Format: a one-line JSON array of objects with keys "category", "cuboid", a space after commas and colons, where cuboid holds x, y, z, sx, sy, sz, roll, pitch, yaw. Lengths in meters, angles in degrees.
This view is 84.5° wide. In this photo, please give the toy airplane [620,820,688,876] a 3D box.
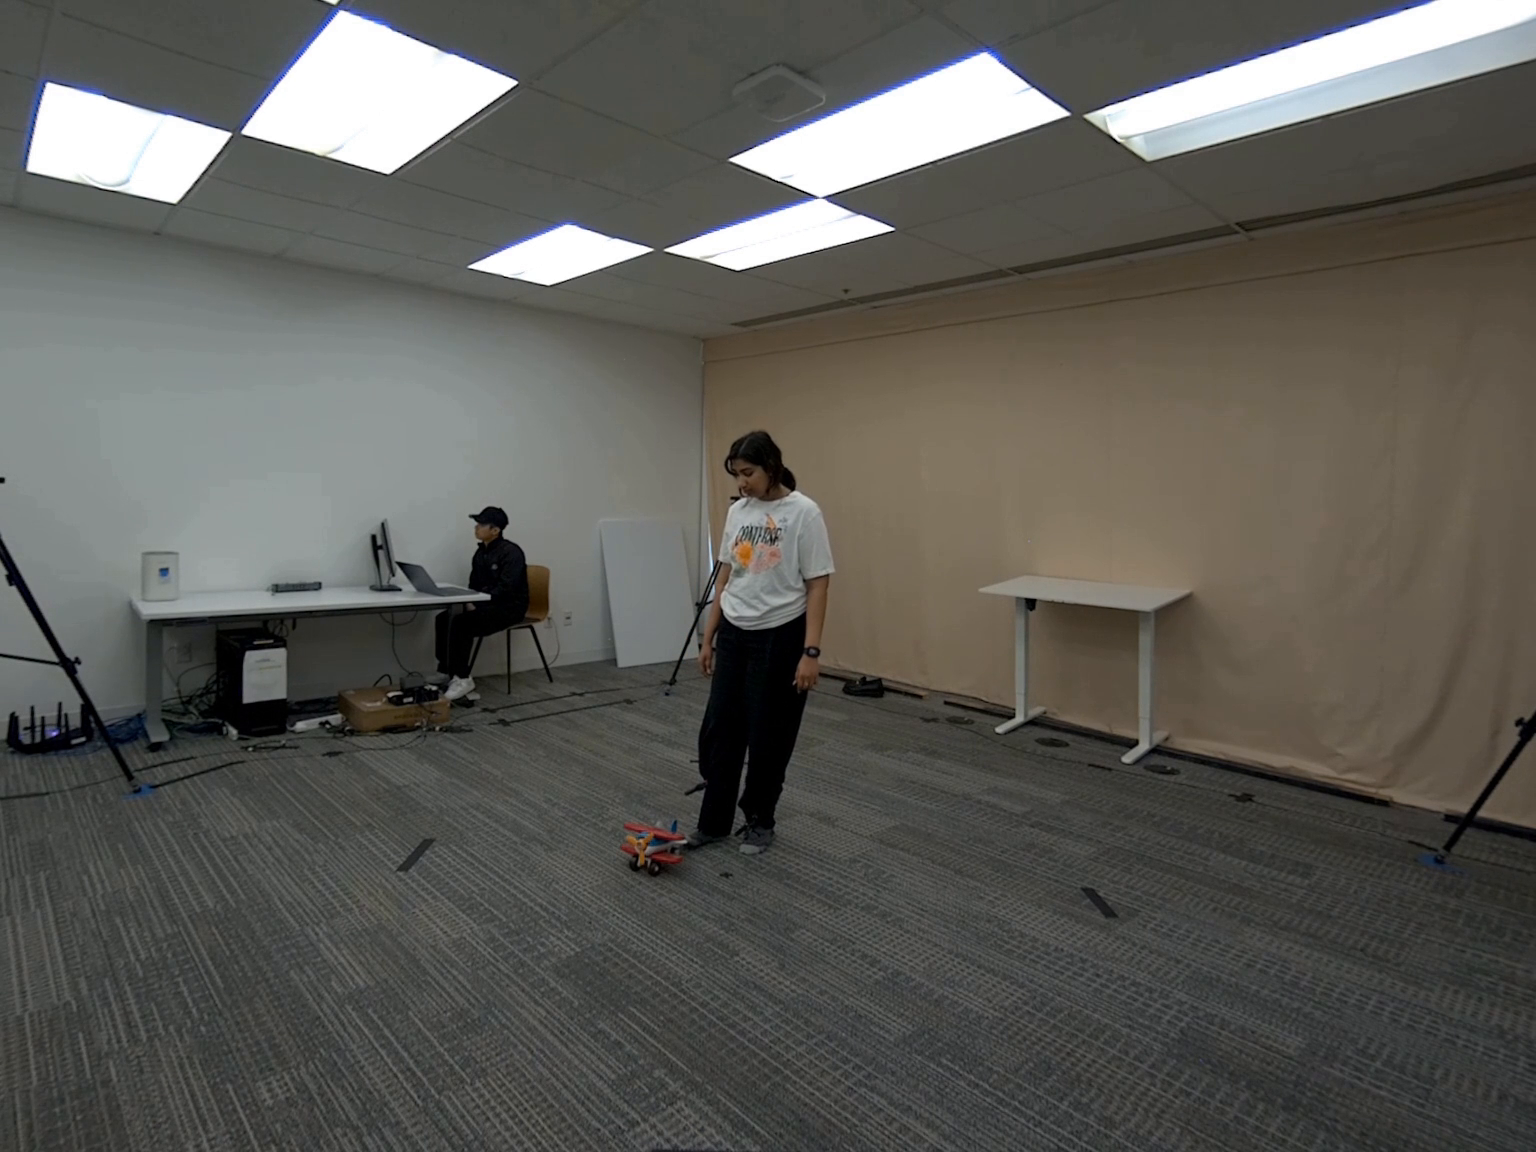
[{"category": "toy airplane", "cuboid": [-0.443, 1.014, 3.187, 0.251, 0.156, 0.260, 0, 6, -2]}]
